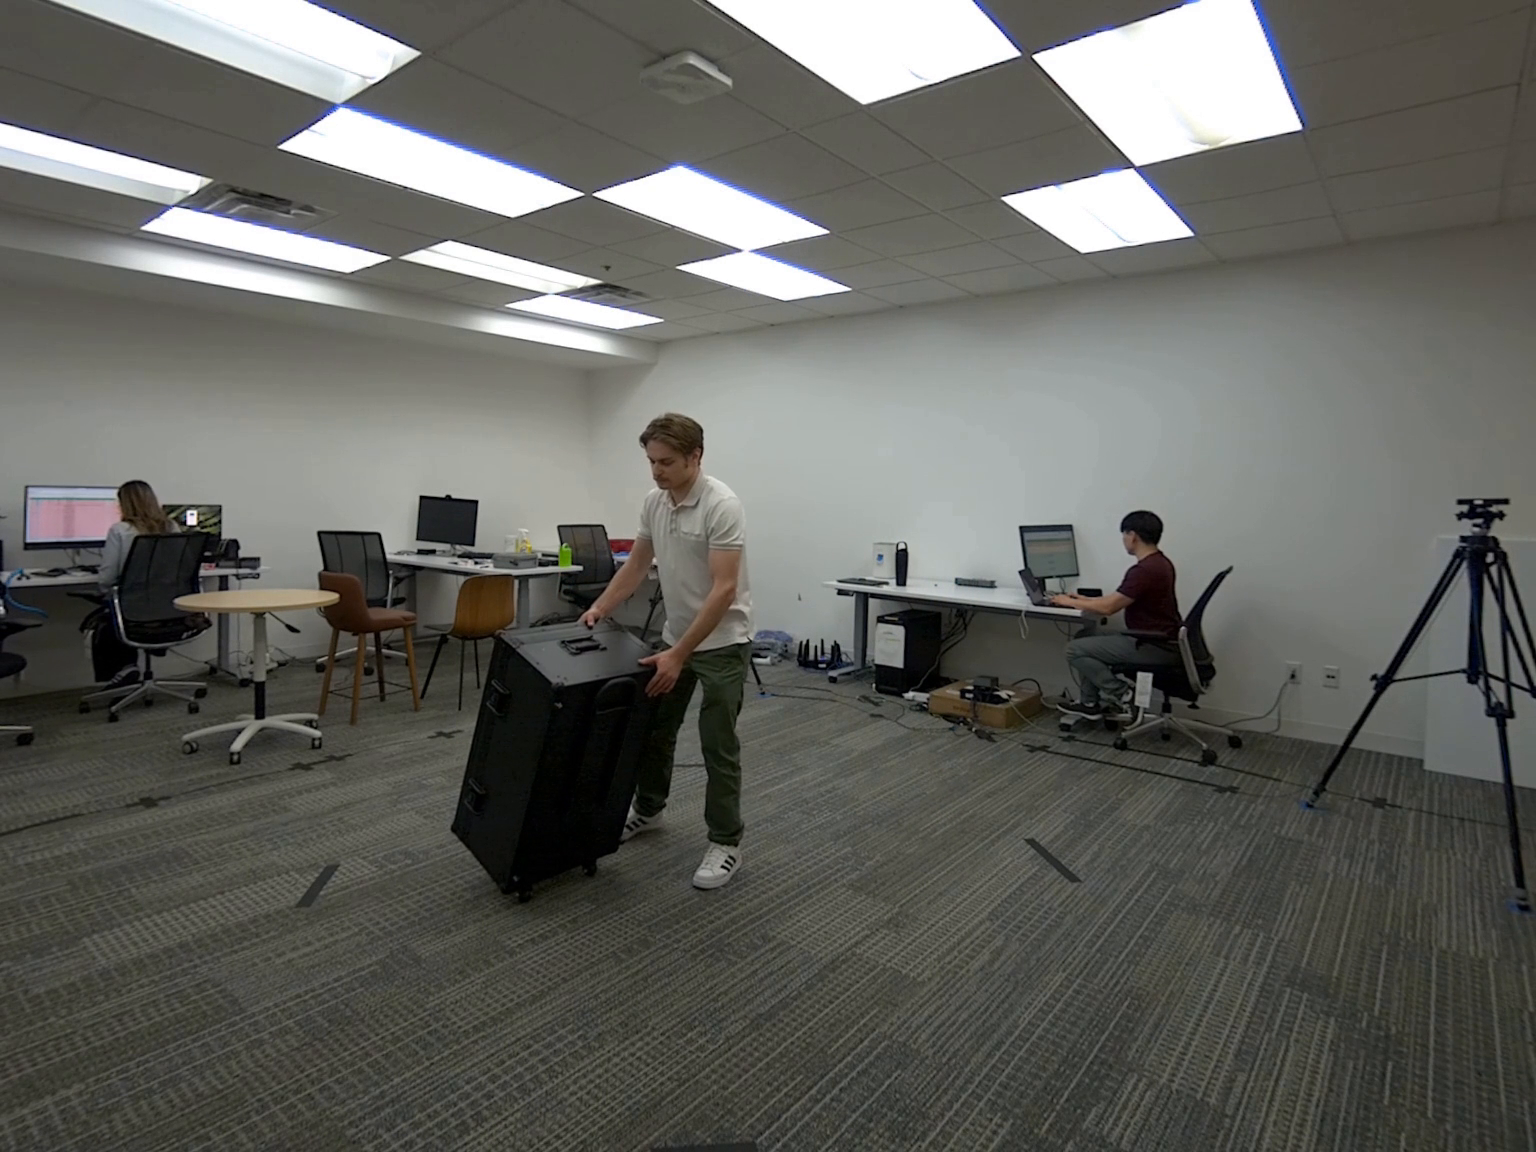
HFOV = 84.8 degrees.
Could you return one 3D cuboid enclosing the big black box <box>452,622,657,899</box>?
[{"bbox_3d":[-0.733,0.627,2.930,0.401,0.860,0.508,29,21,35],"label":"big black box"}]
